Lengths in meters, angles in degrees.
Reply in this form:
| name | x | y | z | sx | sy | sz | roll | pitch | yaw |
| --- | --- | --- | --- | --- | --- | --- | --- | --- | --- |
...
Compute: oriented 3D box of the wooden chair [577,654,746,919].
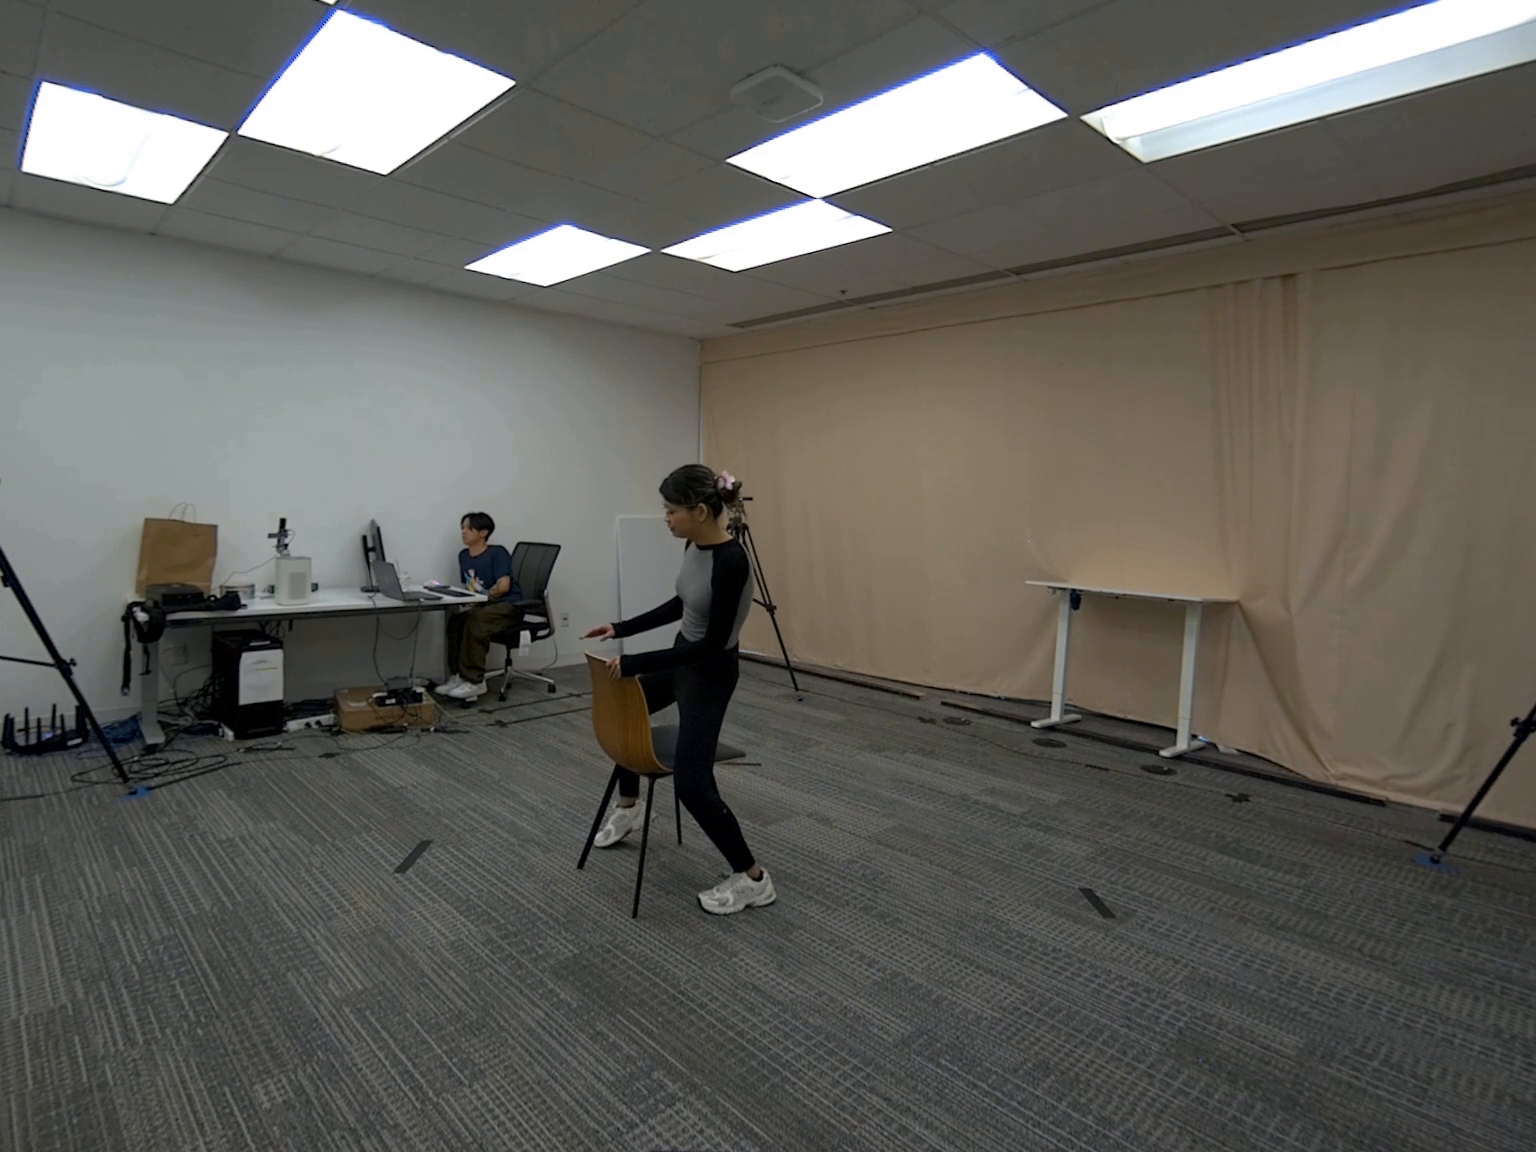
| name | x | y | z | sx | sy | sz | roll | pitch | yaw |
| --- | --- | --- | --- | --- | --- | --- | --- | --- | --- |
| wooden chair | -0.387 | 0.681 | 3.063 | 0.513 | 0.874 | 0.490 | -7 | 7 | -36 |
